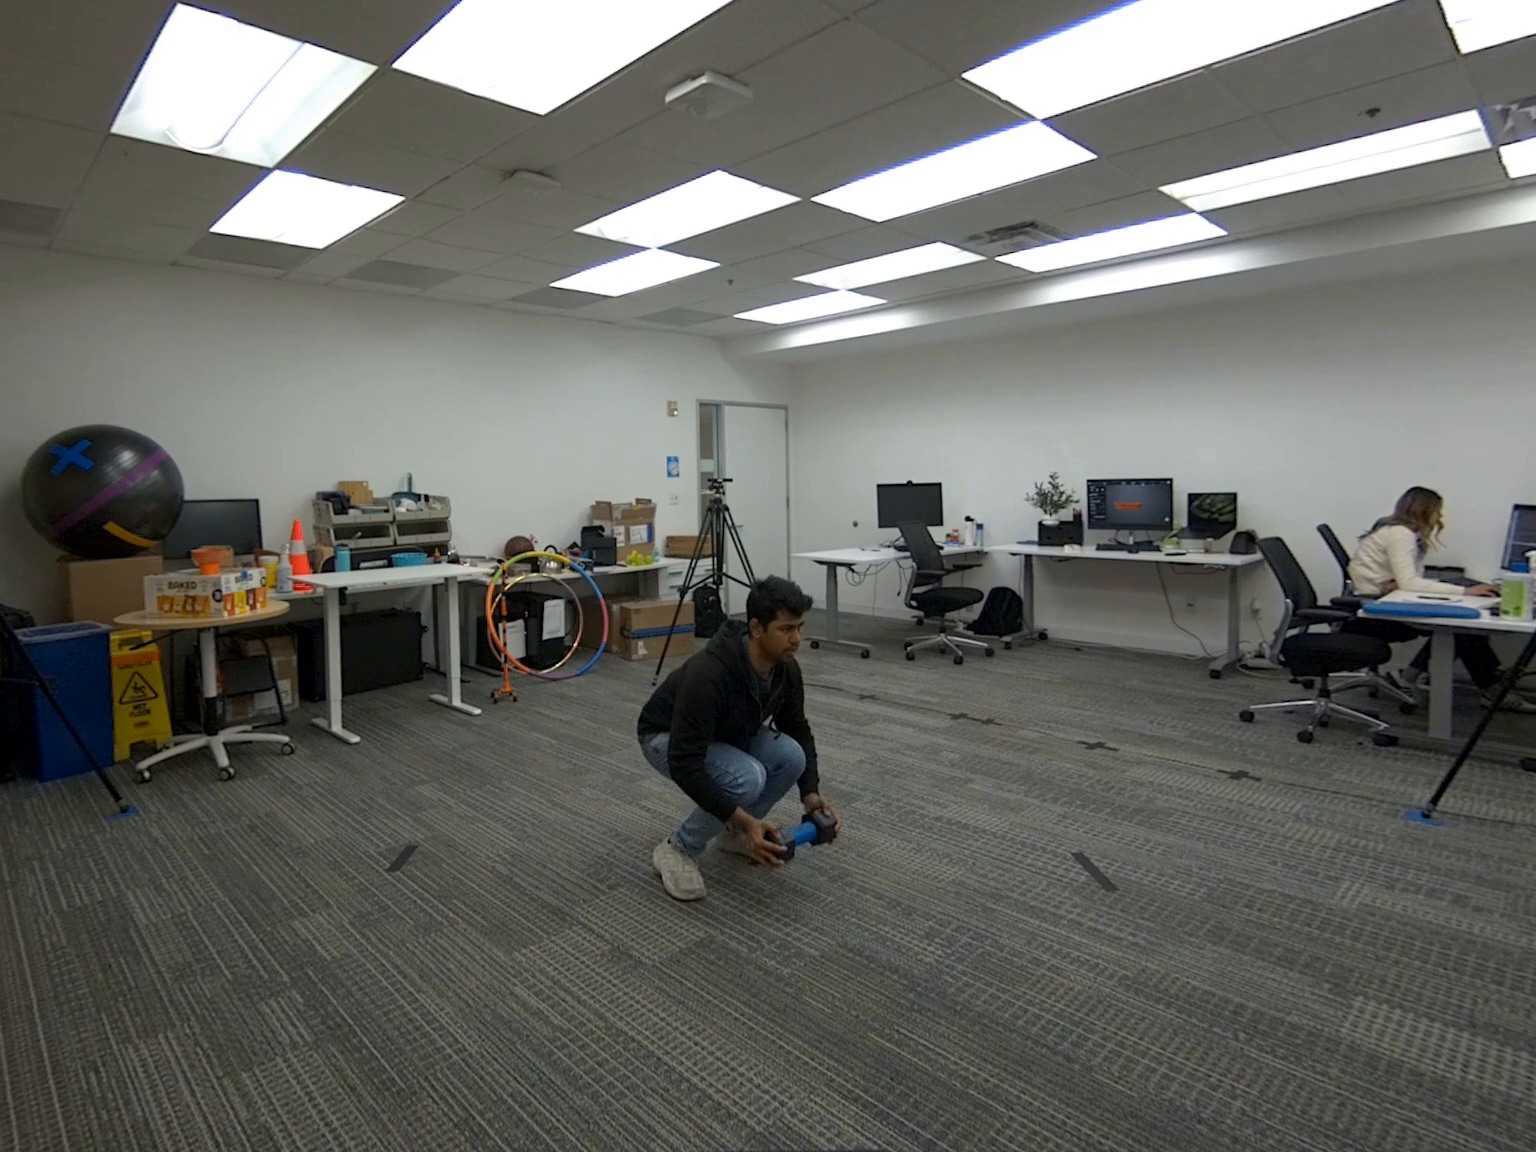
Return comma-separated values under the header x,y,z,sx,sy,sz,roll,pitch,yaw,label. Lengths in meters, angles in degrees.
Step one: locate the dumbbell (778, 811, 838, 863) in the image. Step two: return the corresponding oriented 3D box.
x,y,z,sx,sy,sz,roll,pitch,yaw,label
0.086,0.843,2.816,0.286,0.107,0.127,-5,36,-45,dumbbell
